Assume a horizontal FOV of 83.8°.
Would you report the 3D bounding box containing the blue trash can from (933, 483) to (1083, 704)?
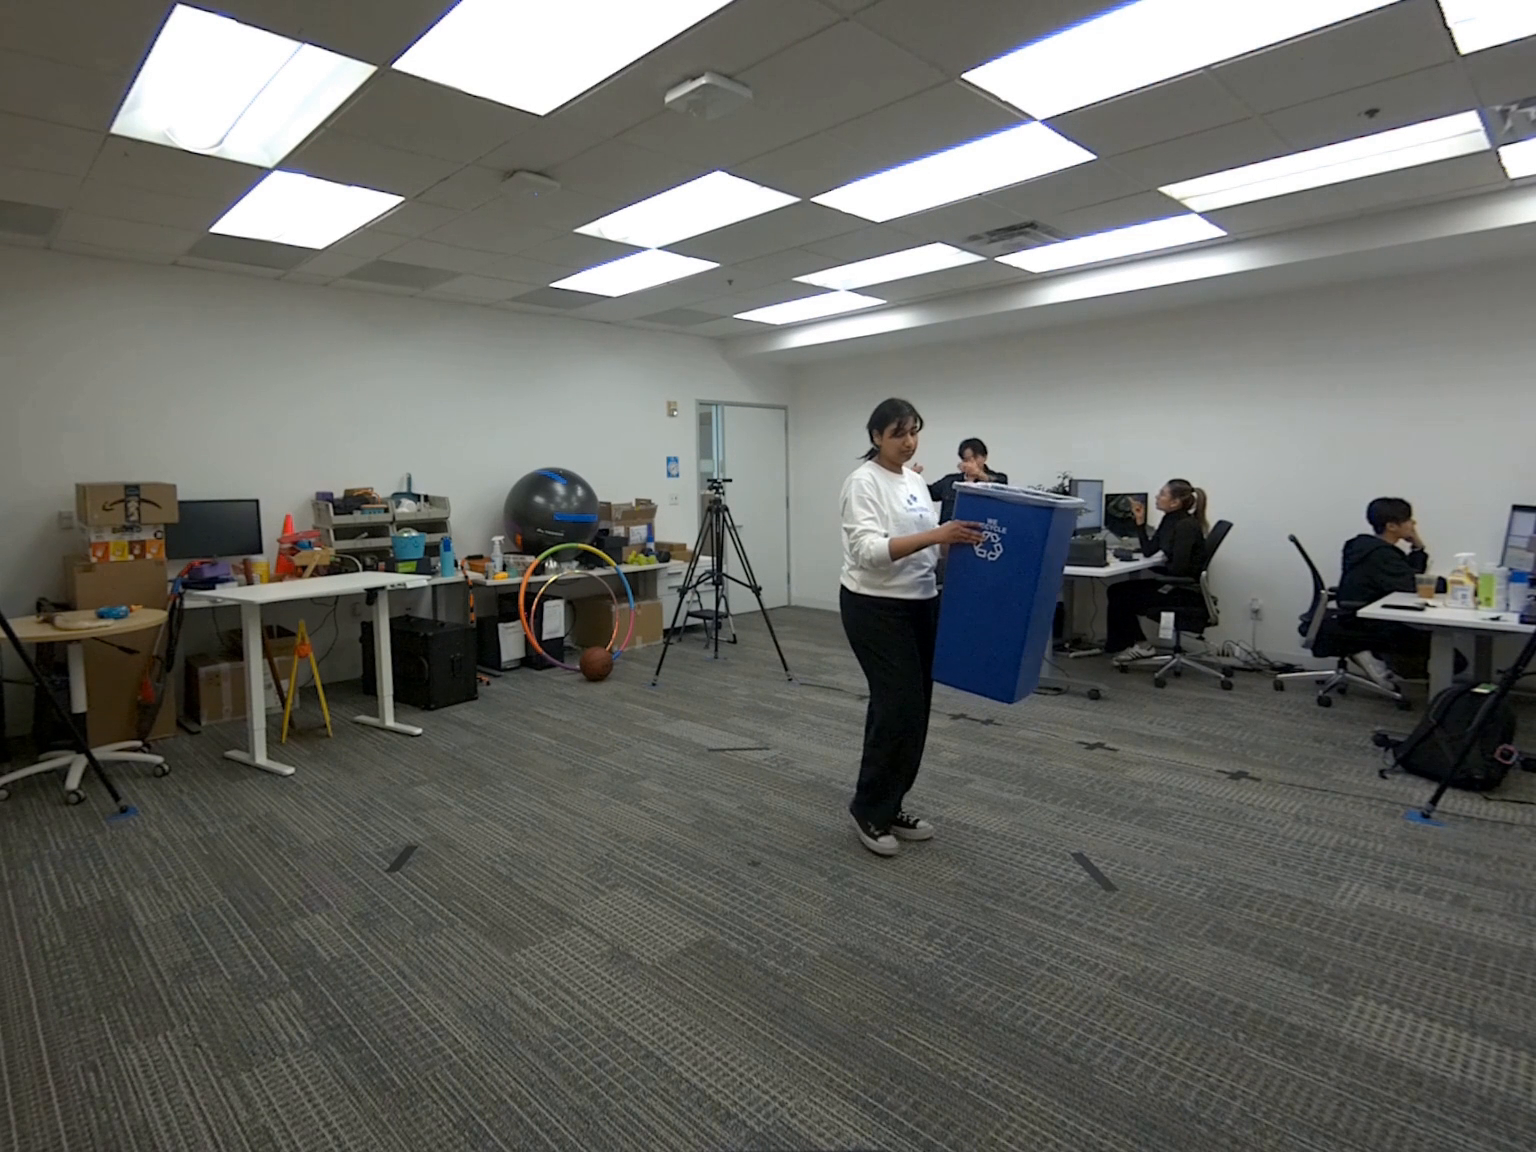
[{"bbox_3d":[0.842,0.052,3.046,0.386,0.709,0.368,12,10,33],"label":"blue trash can"}]
